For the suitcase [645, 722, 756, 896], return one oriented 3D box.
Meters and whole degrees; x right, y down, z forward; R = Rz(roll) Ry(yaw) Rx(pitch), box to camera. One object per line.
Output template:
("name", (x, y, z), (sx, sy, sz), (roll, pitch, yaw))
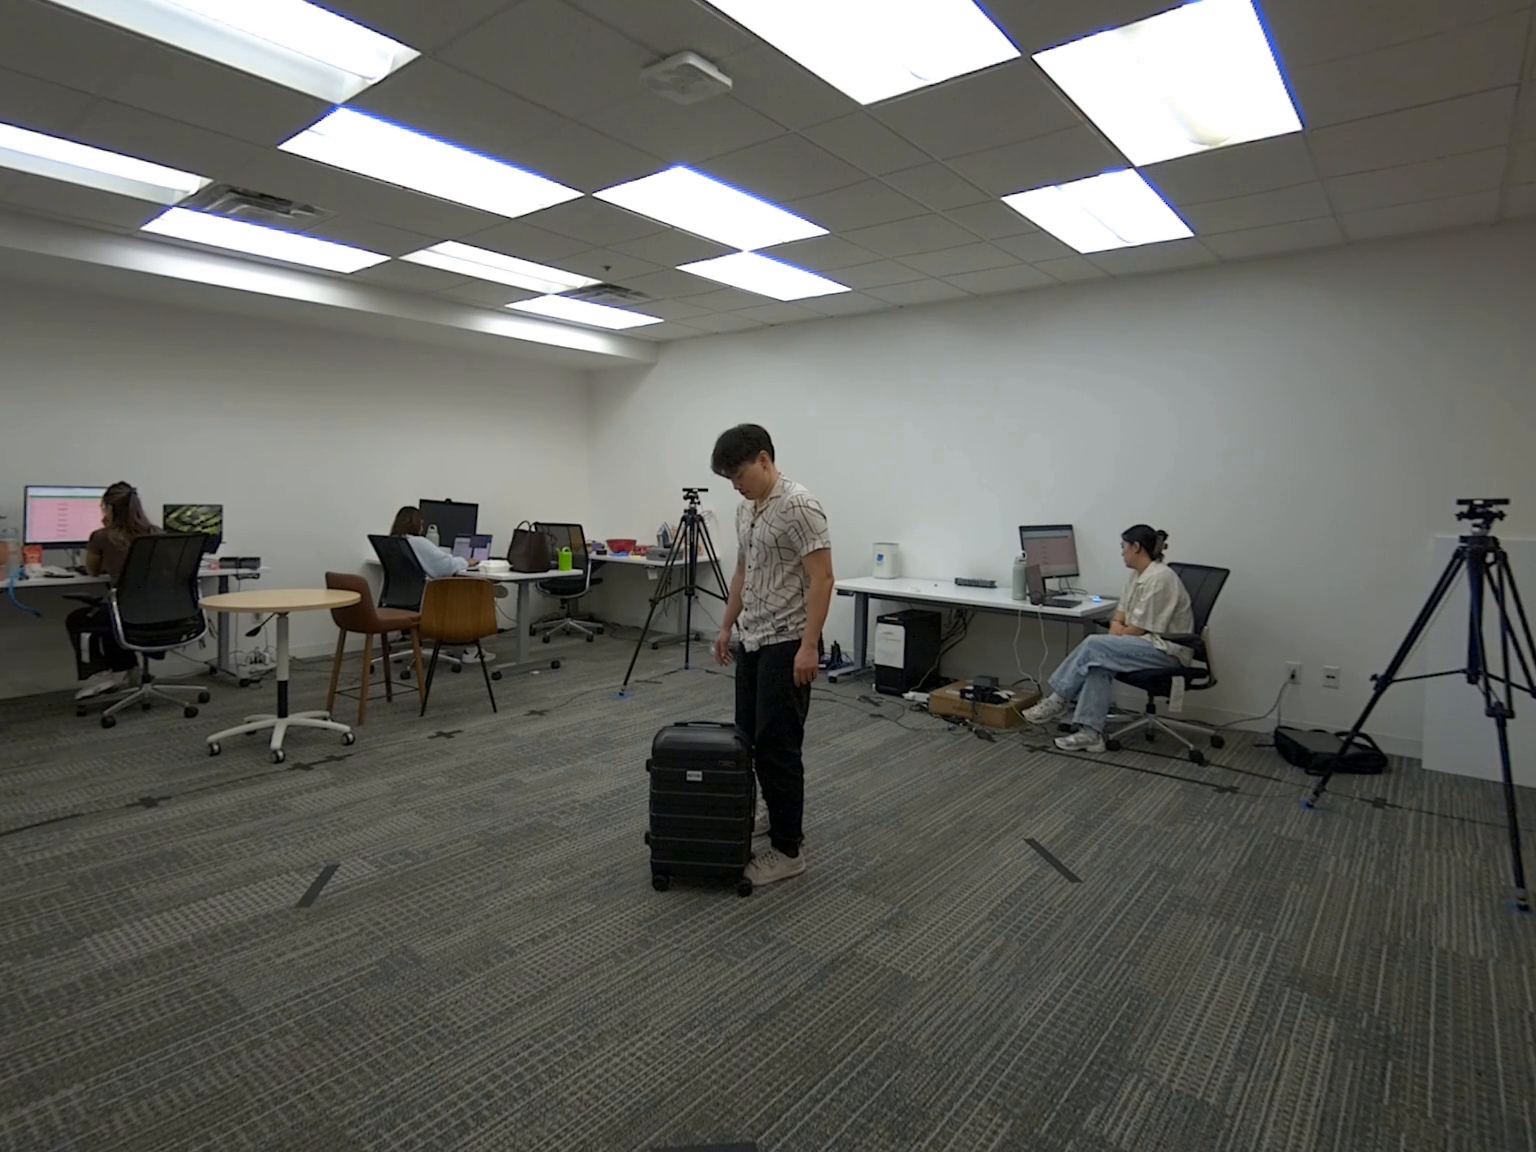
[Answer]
("suitcase", (-0.244, 0.803, 3.023), (0.378, 0.548, 0.247), (1, 3, 5))
